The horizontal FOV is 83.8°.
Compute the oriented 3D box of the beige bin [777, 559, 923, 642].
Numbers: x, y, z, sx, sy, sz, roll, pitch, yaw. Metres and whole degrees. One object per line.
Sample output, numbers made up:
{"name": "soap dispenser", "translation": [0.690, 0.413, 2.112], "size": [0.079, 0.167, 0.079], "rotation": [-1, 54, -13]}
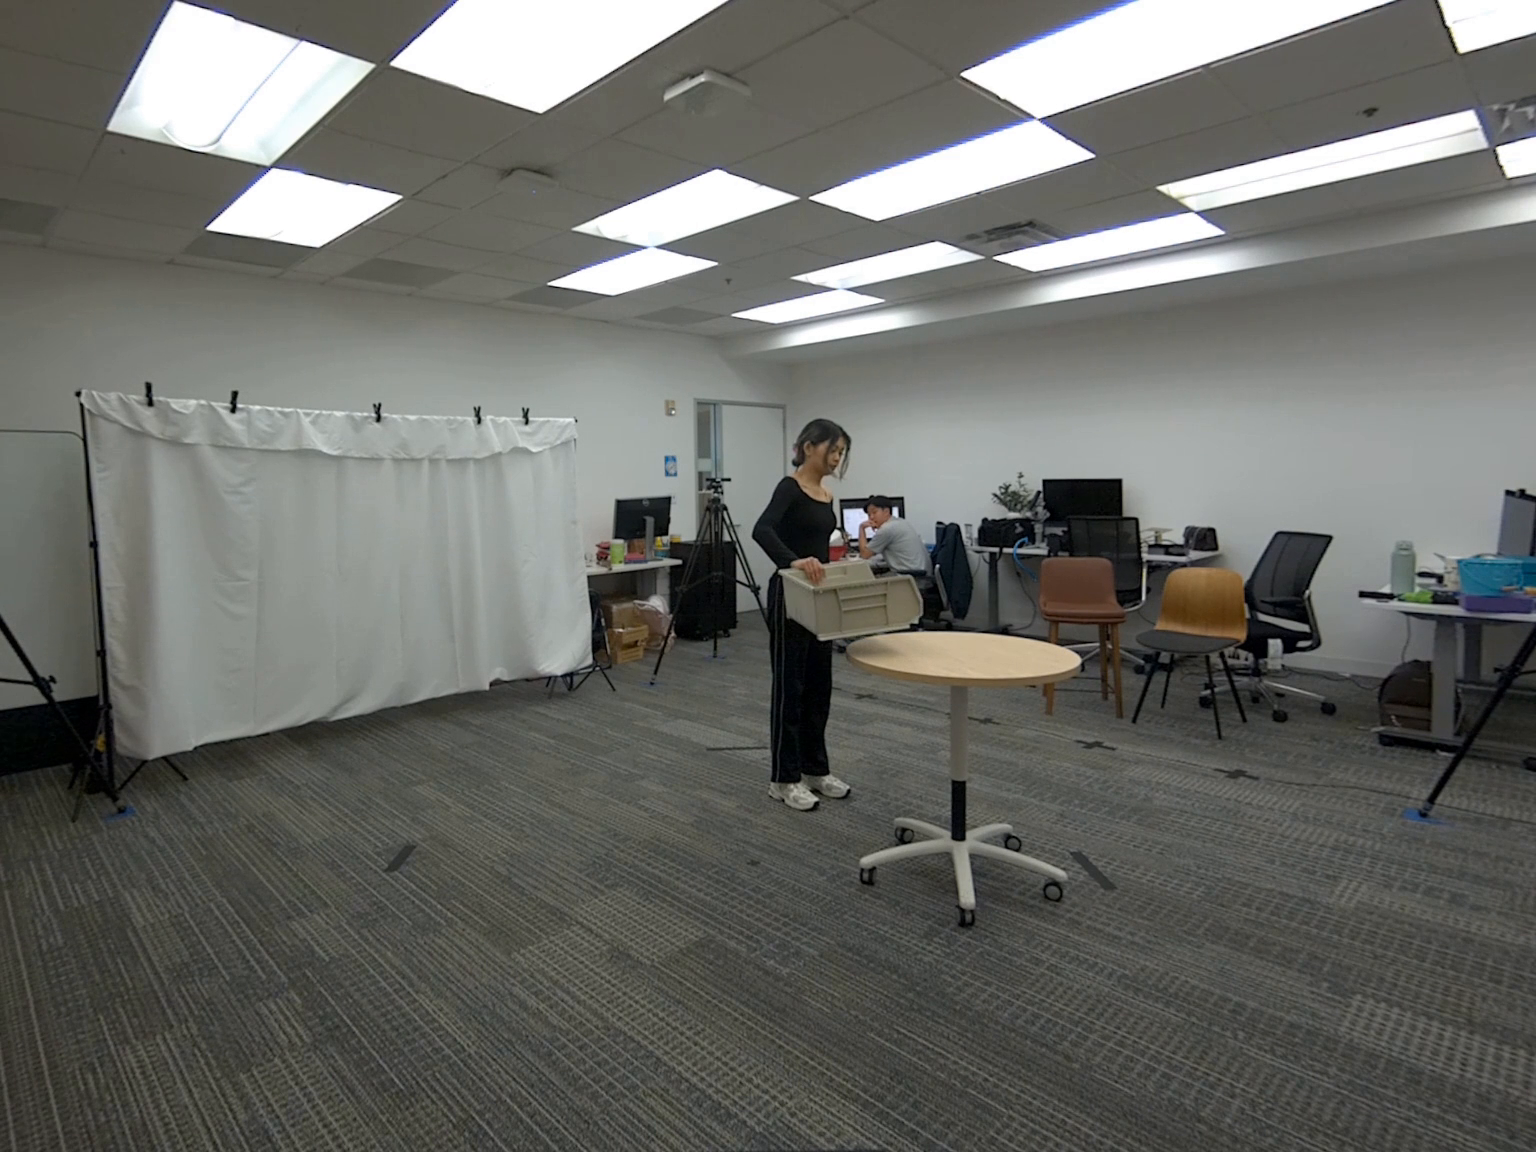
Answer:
{"name": "beige bin", "translation": [0.286, 0.076, 3.006], "size": [0.374, 0.187, 0.430], "rotation": [-8, 10, -11]}
